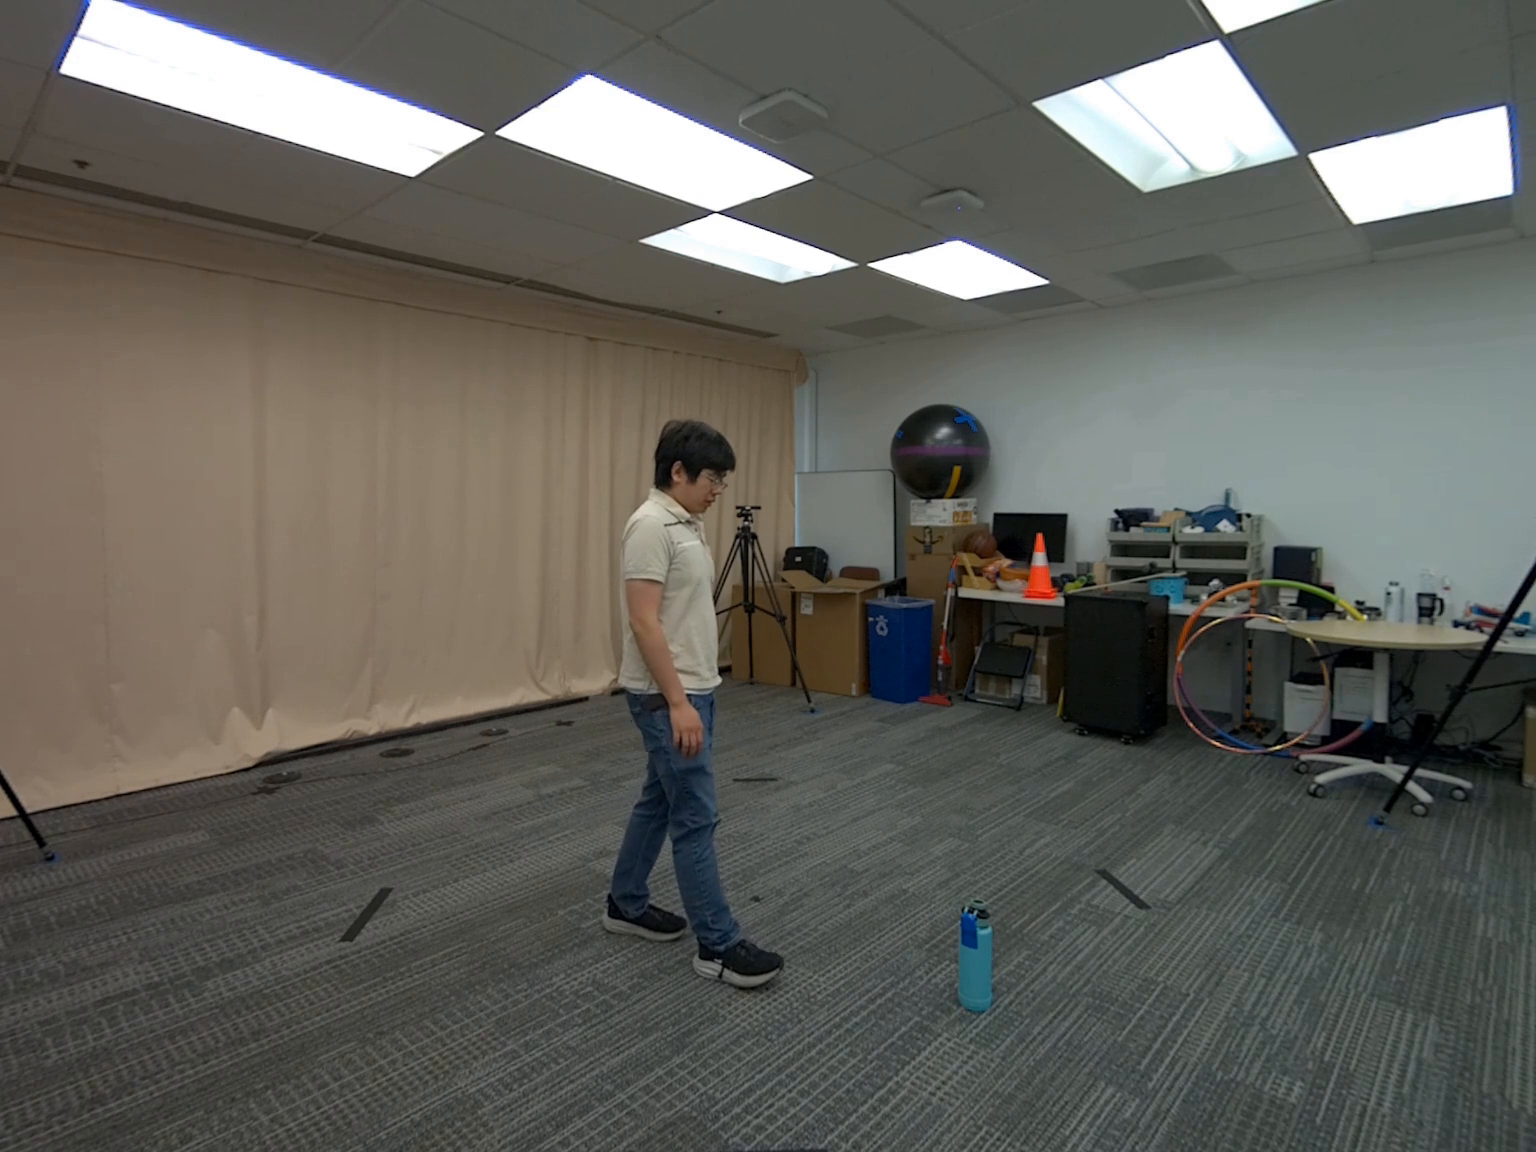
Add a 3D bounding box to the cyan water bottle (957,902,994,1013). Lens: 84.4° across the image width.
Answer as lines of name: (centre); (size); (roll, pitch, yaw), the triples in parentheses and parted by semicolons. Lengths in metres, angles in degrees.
cyan water bottle: (0.588, 1.059, 2.338); (0.092, 0.283, 0.092); (-1, 2, -2)
